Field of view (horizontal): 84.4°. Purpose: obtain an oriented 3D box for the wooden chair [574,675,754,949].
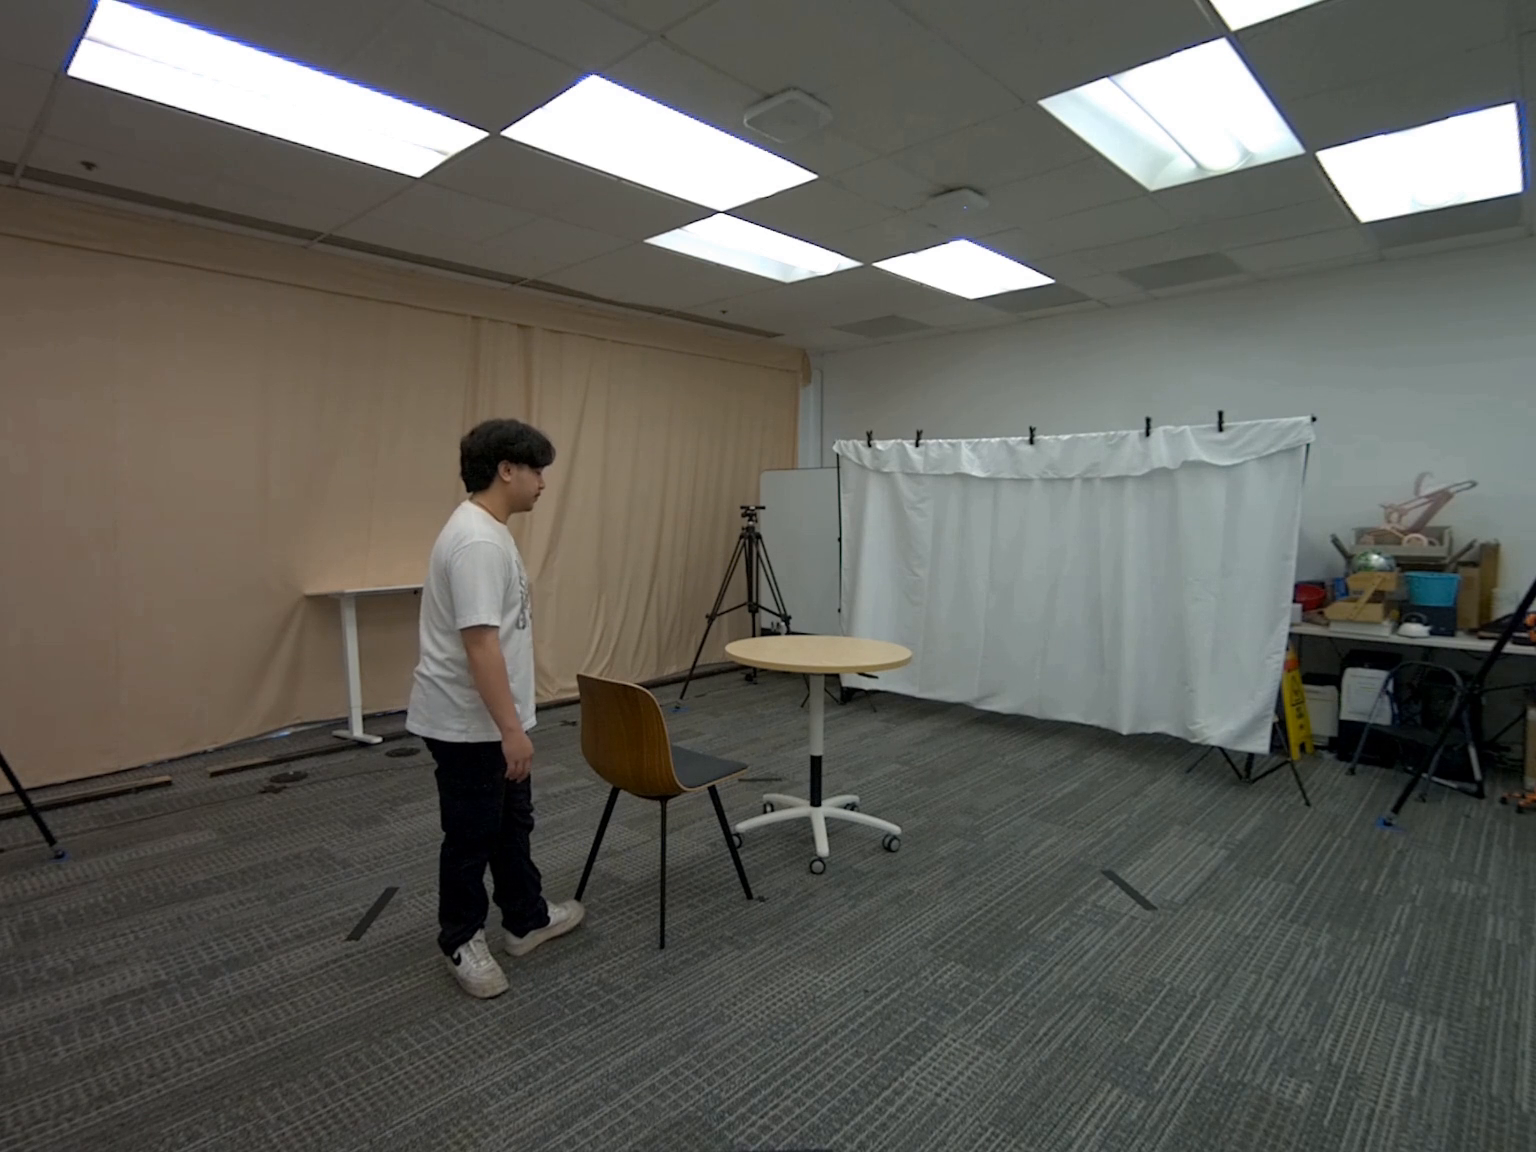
[{"bbox_3d":[-0.364,0.722,2.939,0.494,0.873,0.508,2,8,40],"label":"wooden chair"}]
